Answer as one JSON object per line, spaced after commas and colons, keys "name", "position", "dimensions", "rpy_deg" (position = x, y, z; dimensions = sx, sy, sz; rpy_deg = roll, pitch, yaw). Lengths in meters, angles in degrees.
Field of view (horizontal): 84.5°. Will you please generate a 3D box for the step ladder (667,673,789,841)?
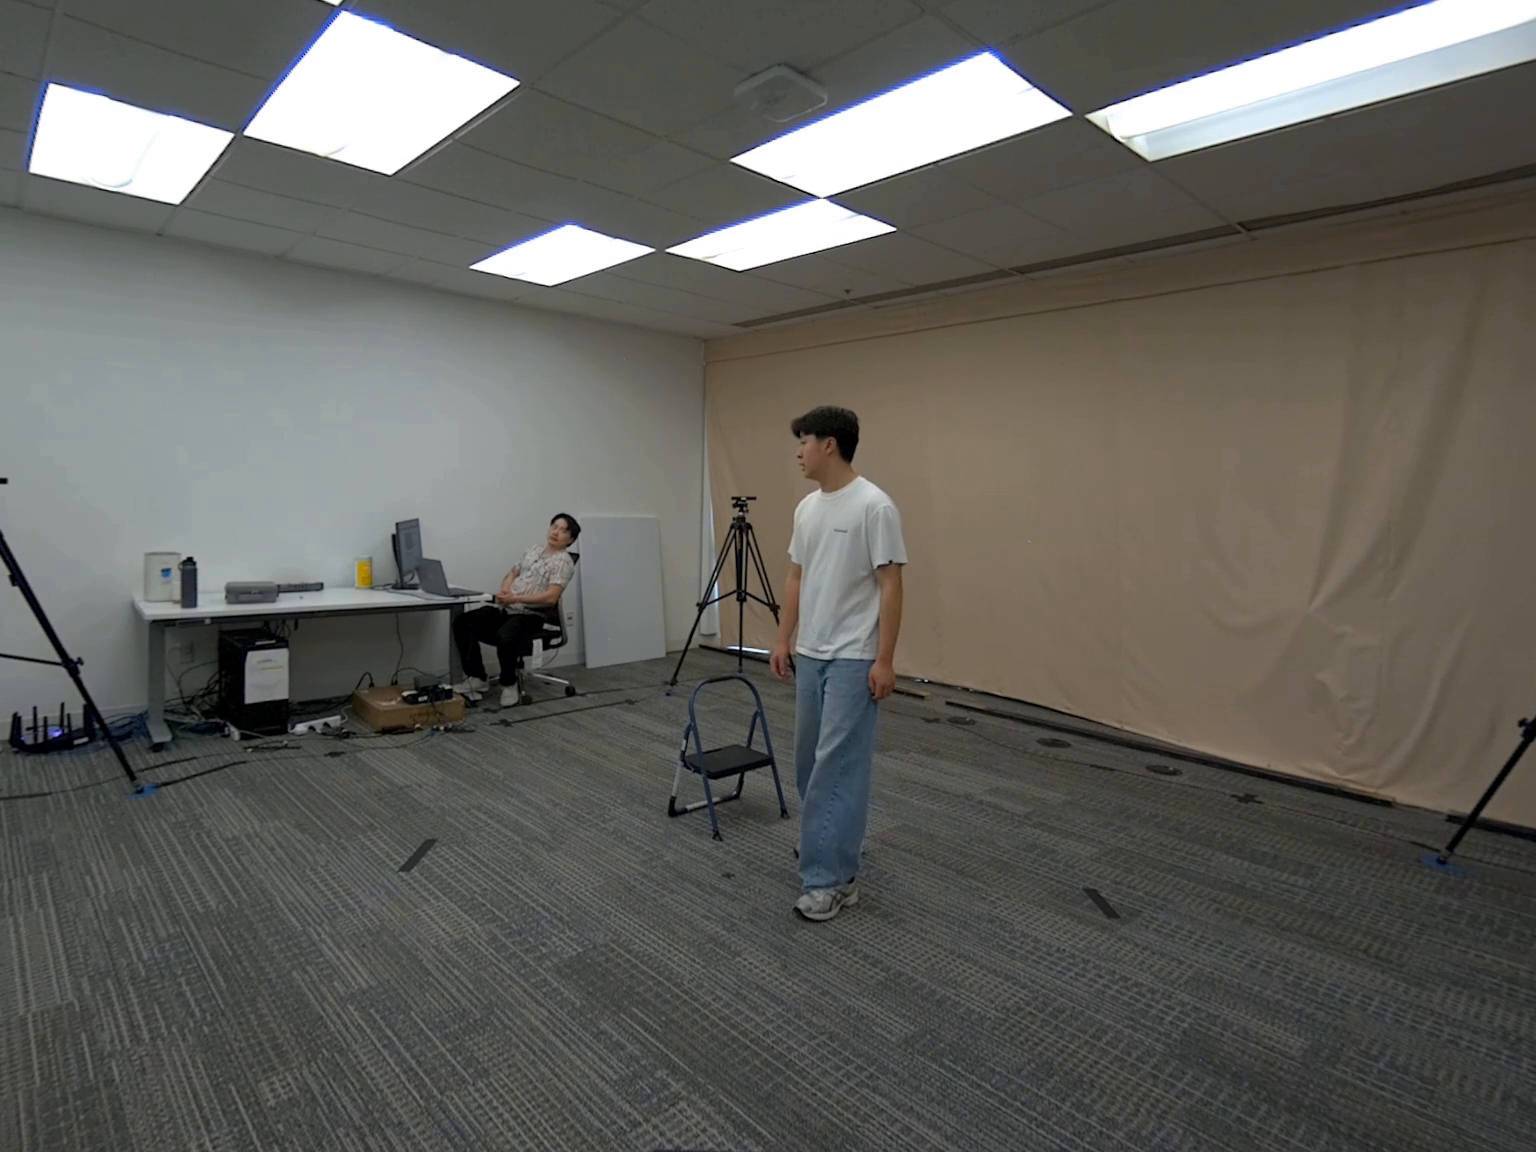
{"name": "step ladder", "position": [-0.172, 0.751, 3.670], "dimensions": [0.421, 0.604, 0.358], "rpy_deg": [-2, 5, -44]}
